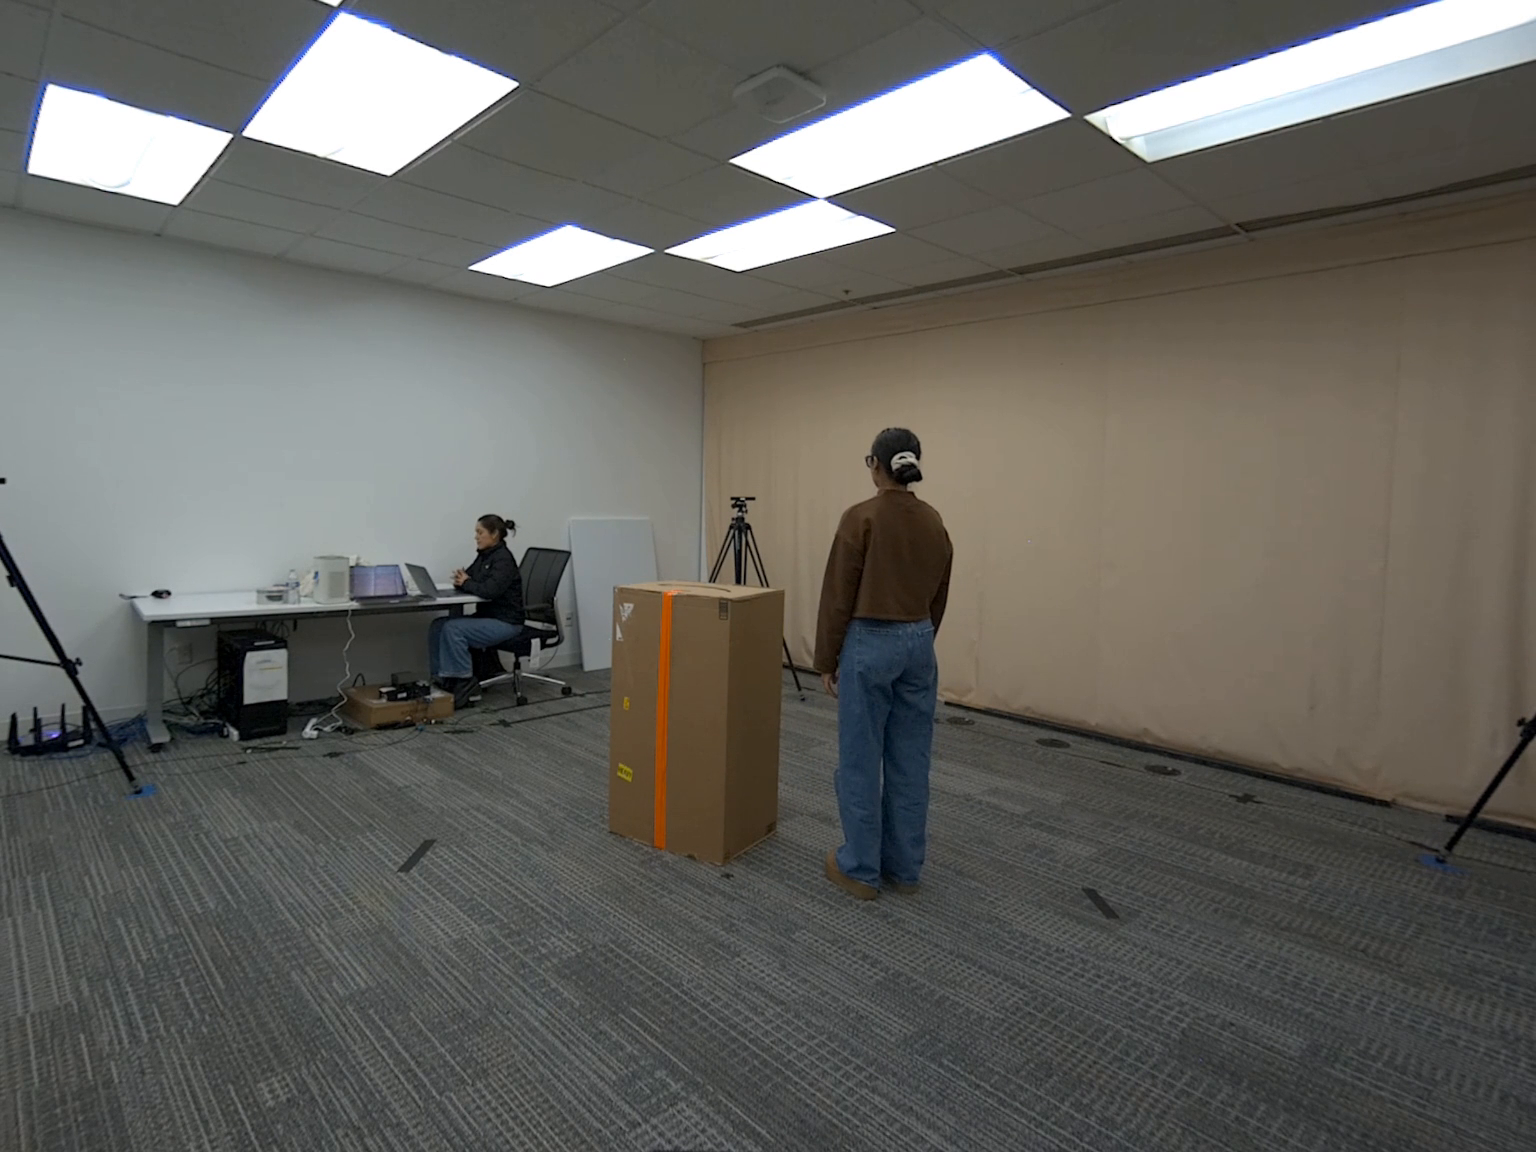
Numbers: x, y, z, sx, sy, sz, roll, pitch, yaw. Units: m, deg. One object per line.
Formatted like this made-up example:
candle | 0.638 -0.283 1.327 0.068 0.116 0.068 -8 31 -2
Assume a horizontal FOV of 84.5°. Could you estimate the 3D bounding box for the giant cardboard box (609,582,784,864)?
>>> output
giant cardboard box | -0.302 0.559 3.486 0.591 1.023 0.417 4 4 33
